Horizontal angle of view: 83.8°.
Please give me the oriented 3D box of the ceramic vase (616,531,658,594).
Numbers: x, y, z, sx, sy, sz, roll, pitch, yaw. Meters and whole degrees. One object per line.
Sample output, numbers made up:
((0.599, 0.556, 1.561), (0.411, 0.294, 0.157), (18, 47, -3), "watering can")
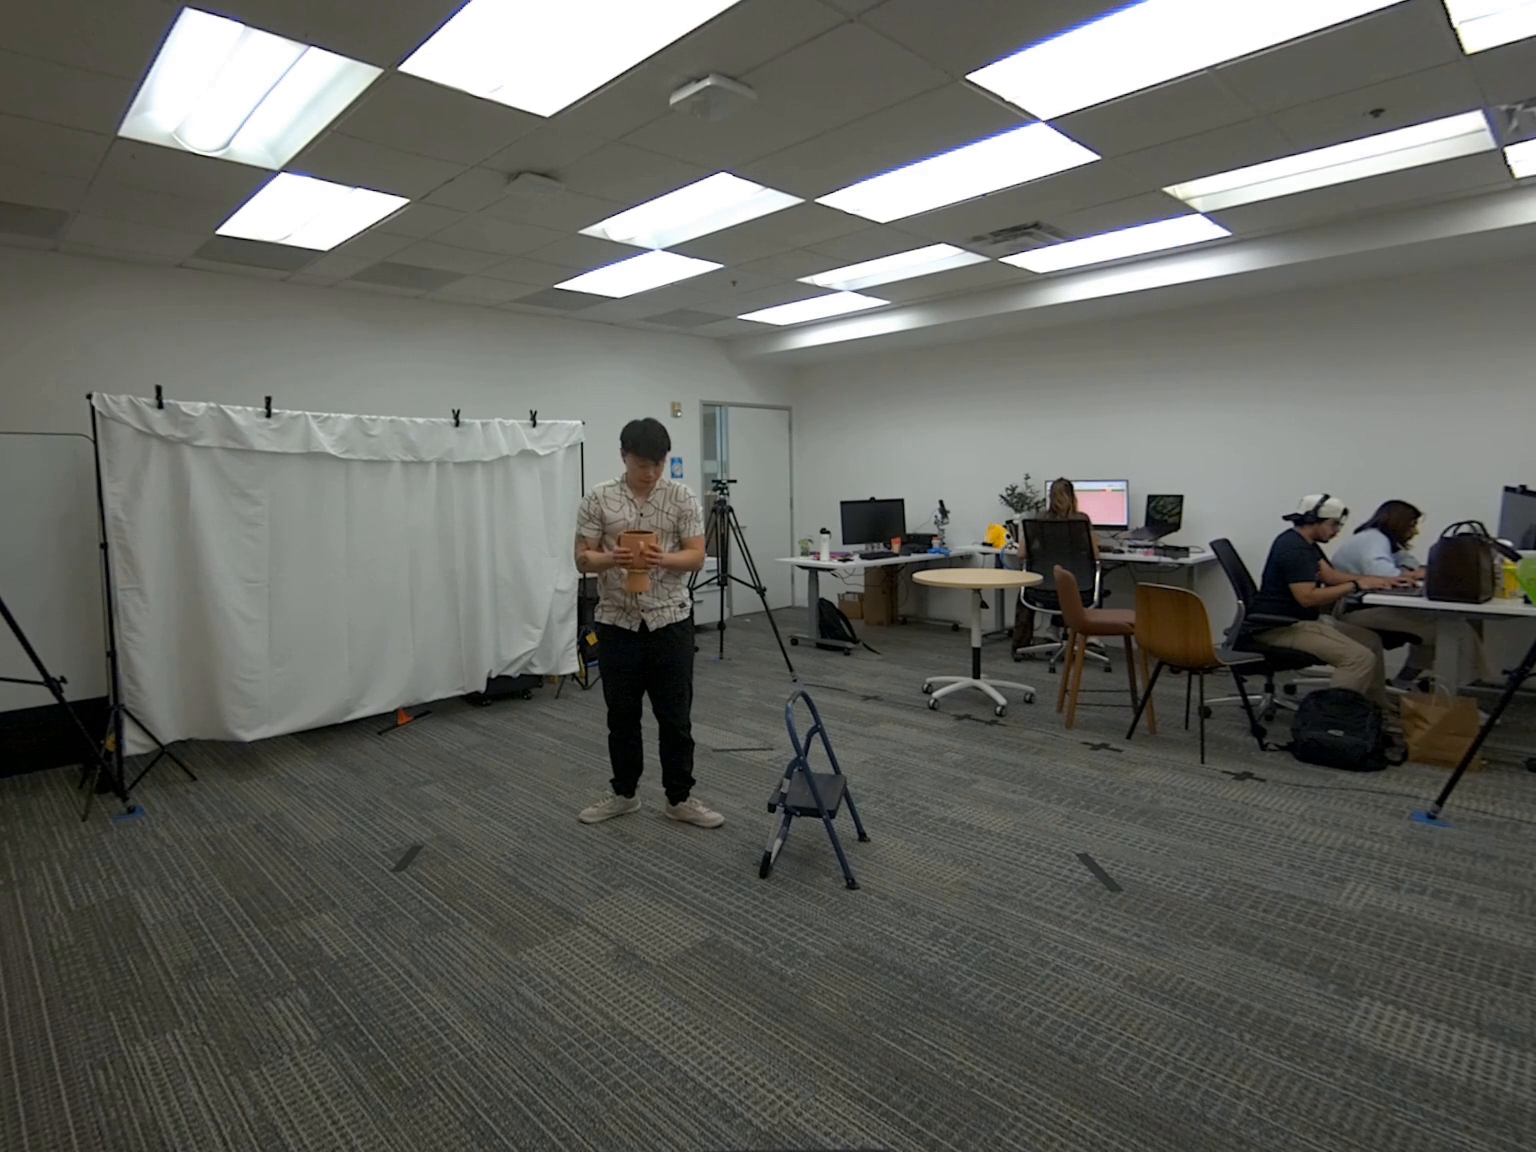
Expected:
((-0.508, -0.051, 3.252), (0.138, 0.218, 0.156), (6, 11, 23), "ceramic vase")
